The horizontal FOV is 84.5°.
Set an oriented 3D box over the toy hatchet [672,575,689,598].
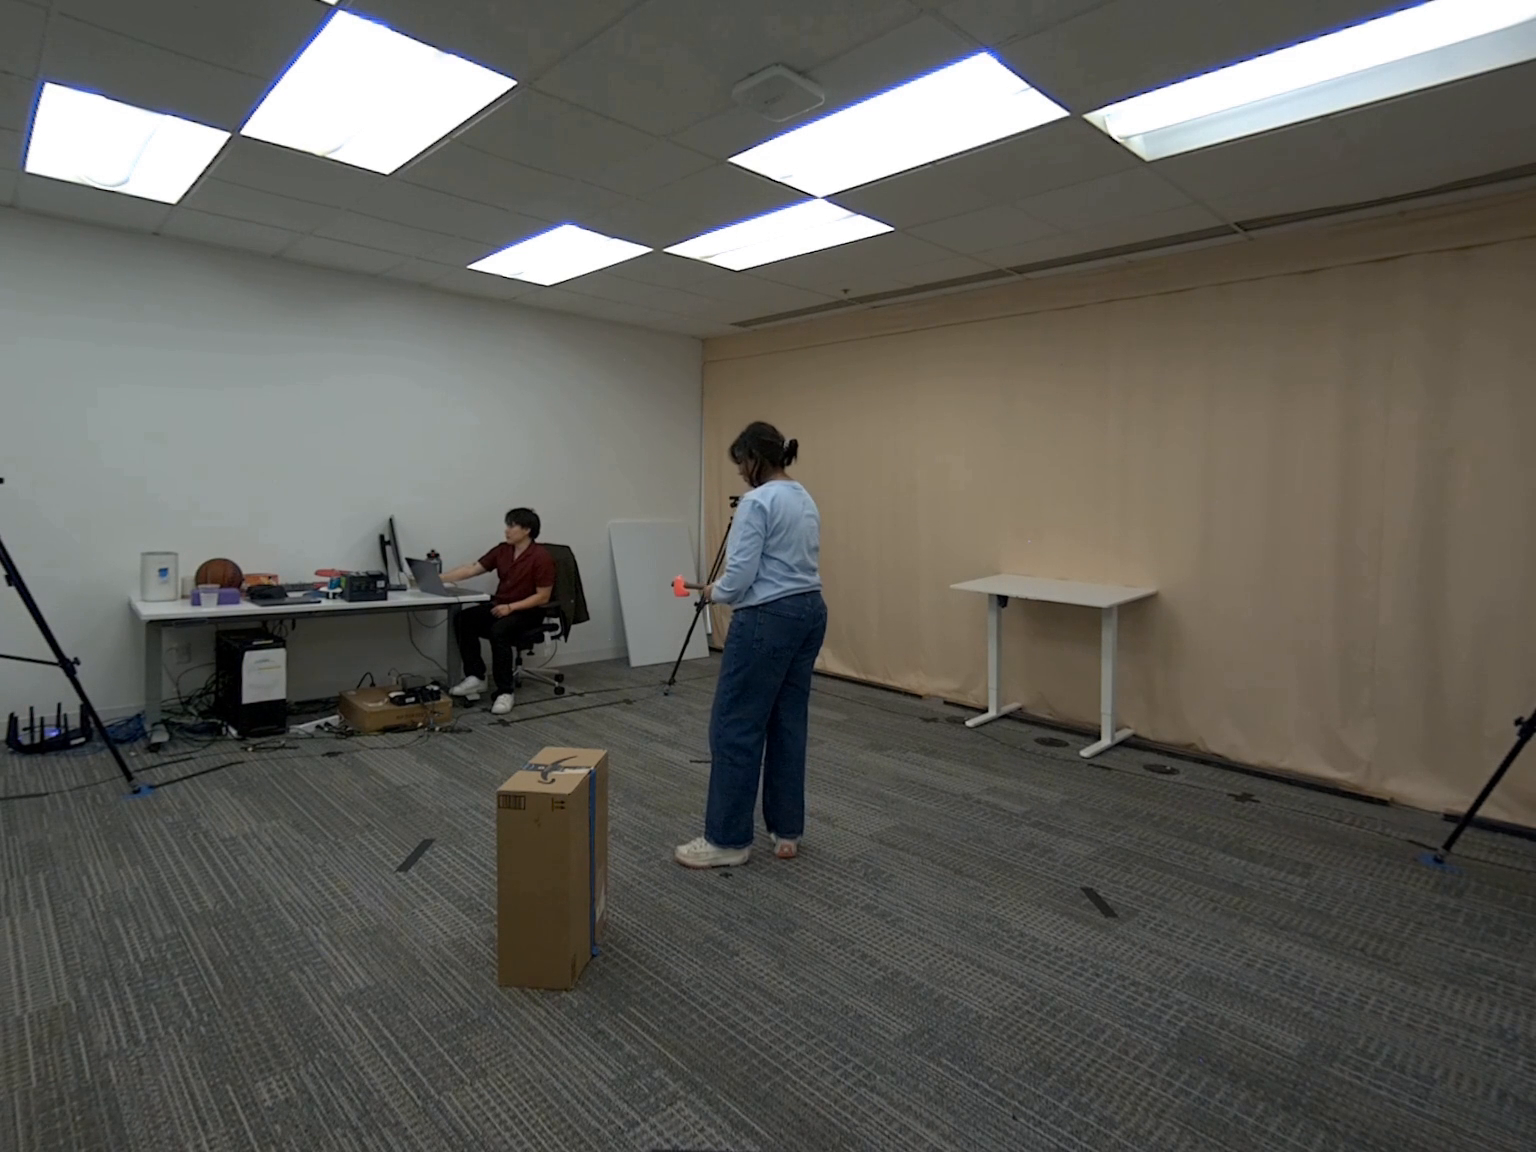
[{"bbox_3d":[-0.259,0.075,3.429,0.274,0.029,0.131,19,38,13],"label":"toy hatchet"}]
